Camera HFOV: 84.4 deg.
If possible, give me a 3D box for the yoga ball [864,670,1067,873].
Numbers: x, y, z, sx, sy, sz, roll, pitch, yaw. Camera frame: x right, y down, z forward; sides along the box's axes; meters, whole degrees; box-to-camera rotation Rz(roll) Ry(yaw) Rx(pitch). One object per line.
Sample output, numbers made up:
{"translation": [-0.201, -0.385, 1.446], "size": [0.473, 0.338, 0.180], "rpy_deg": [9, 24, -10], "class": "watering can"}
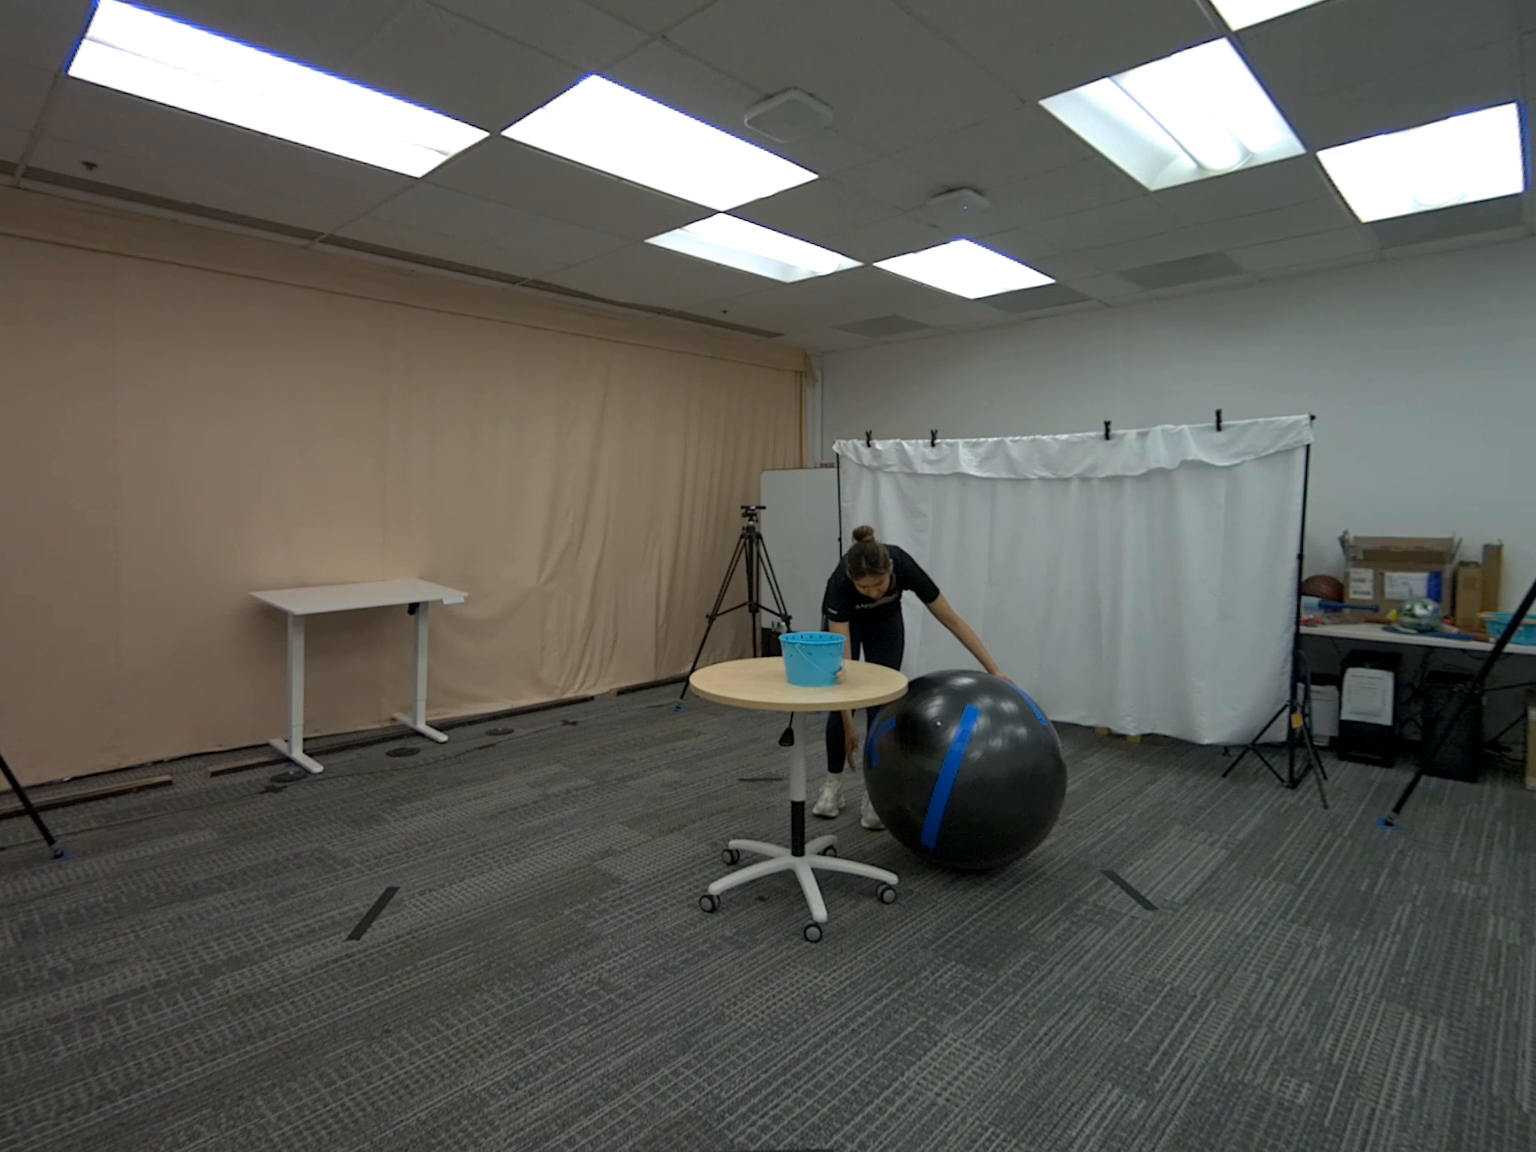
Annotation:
{"translation": [0.773, 0.745, 3.278], "size": [0.757, 0.756, 0.761], "rpy_deg": [0, 4, -2], "class": "yoga ball"}
